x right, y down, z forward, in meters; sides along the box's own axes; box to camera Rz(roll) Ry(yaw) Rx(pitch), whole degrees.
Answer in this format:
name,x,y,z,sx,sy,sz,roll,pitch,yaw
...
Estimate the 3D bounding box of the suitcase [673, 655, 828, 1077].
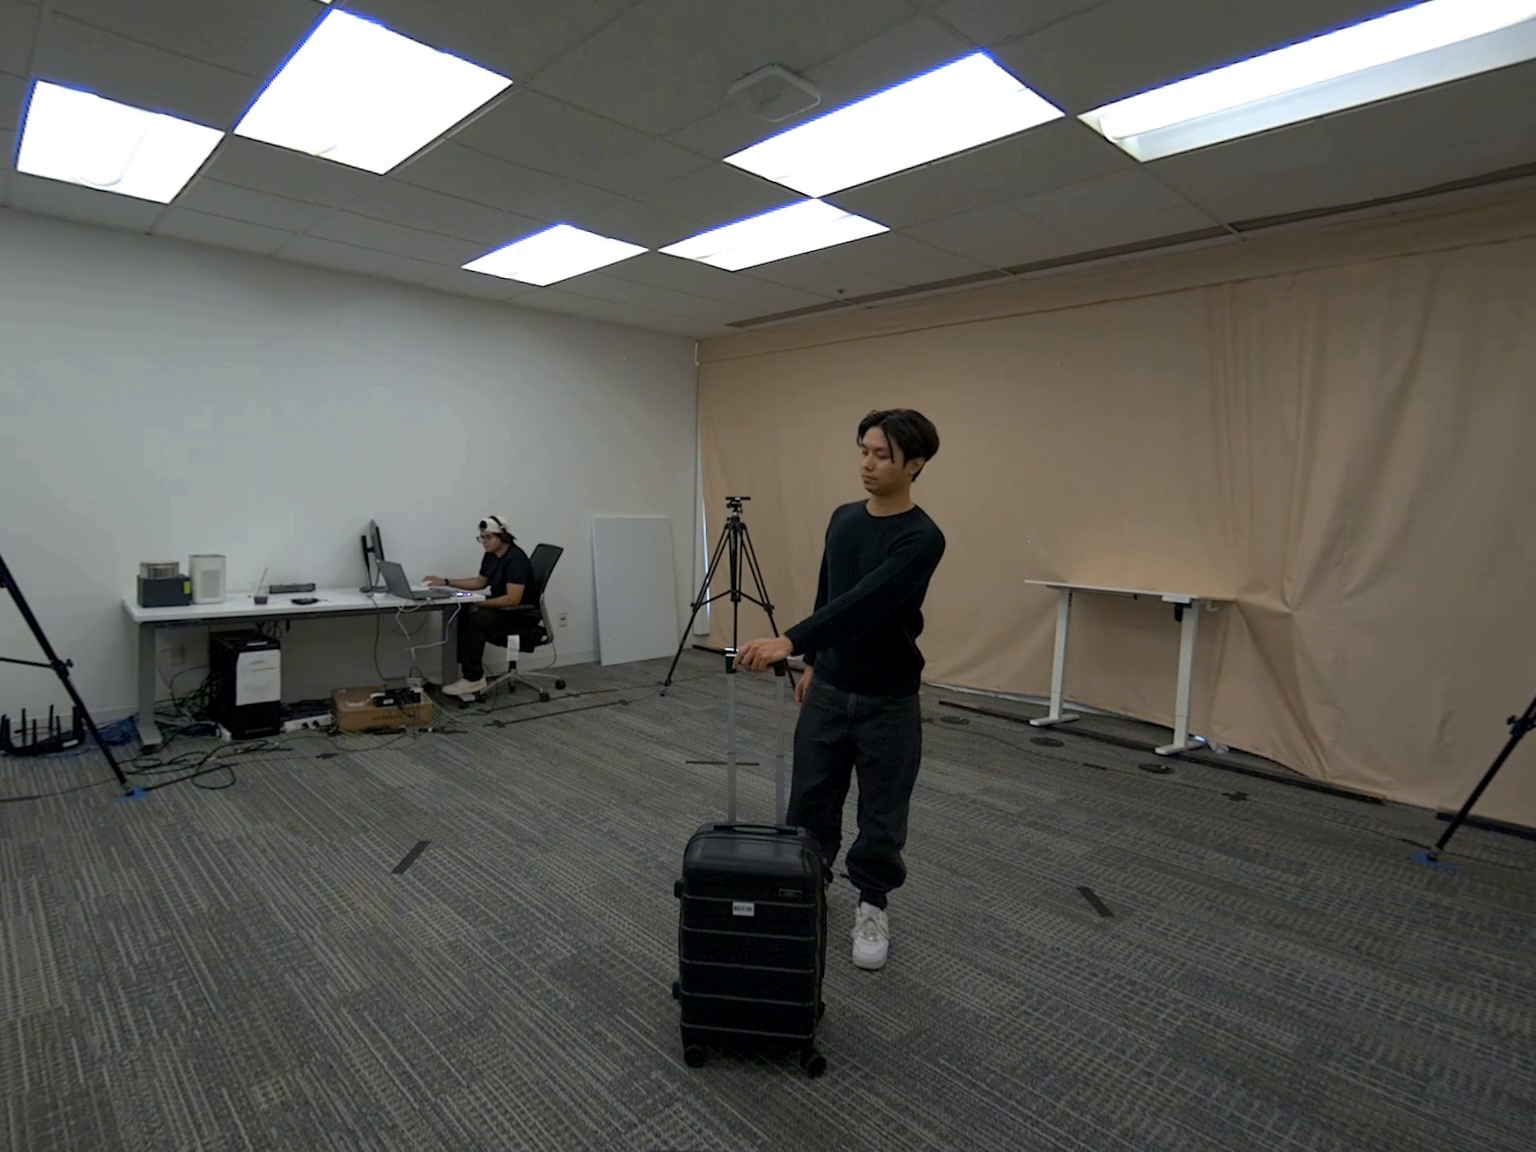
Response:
name,x,y,z,sx,sy,sz,roll,pitch,yaw
suitcase,-0.044,0.725,2.126,0.386,0.975,0.256,0,5,7
